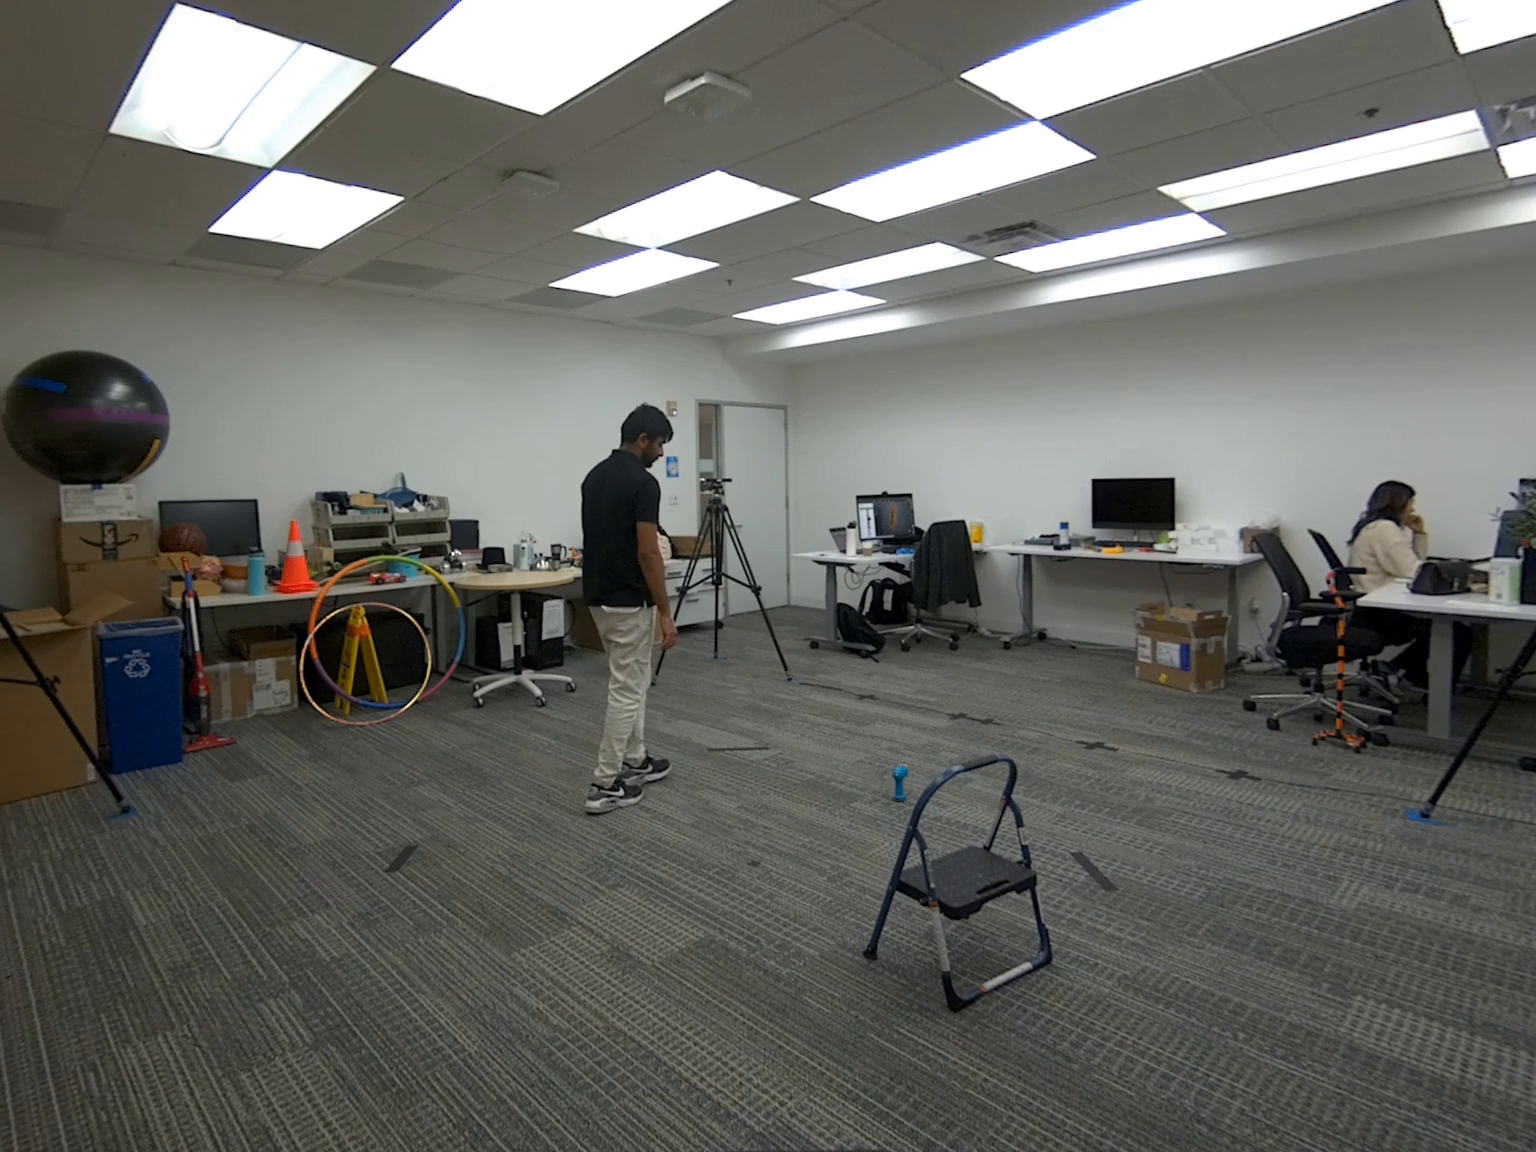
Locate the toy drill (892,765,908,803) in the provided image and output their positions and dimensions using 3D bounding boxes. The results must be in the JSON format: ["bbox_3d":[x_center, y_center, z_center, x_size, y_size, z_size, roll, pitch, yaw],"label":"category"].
[{"bbox_3d":[0.581,0.889,3.732,0.062,0.145,0.167,0,5,20],"label":"toy drill"}]
